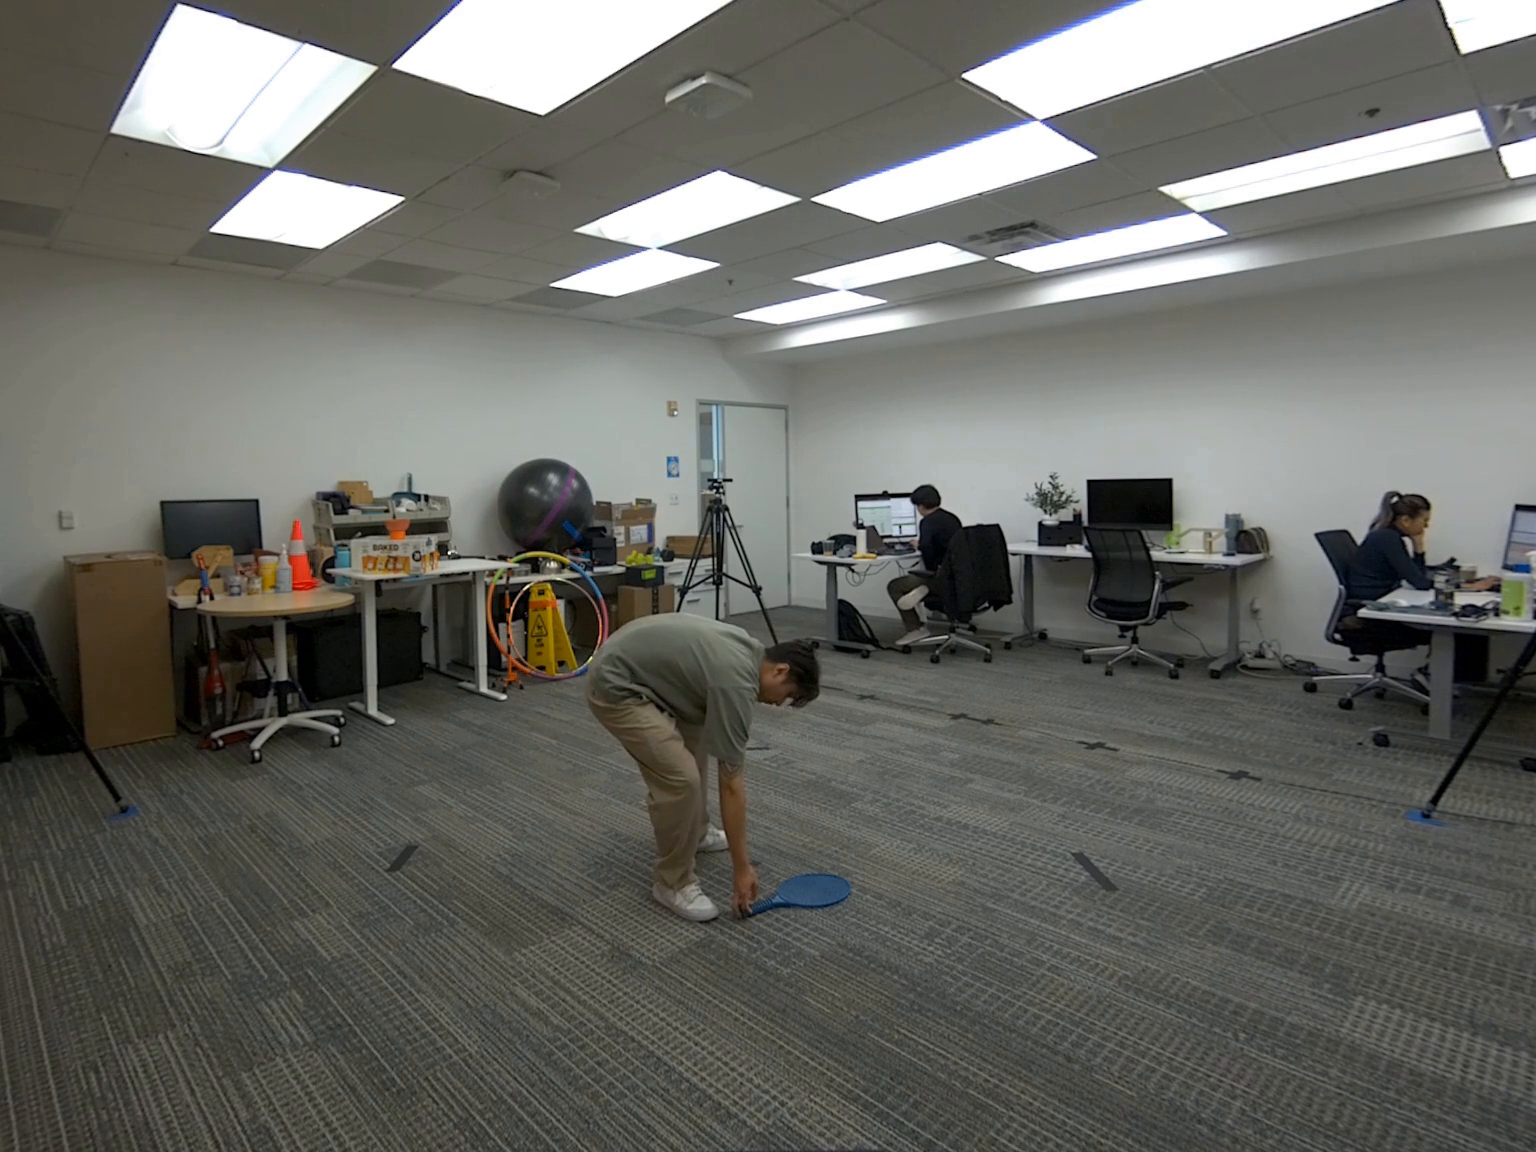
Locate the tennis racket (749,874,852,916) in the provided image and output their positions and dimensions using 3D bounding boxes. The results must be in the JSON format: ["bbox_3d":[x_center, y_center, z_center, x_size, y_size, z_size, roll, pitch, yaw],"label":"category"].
[{"bbox_3d":[0.089,1.058,2.841,0.422,0.031,0.220,-3,6,-33],"label":"tennis racket"}]
